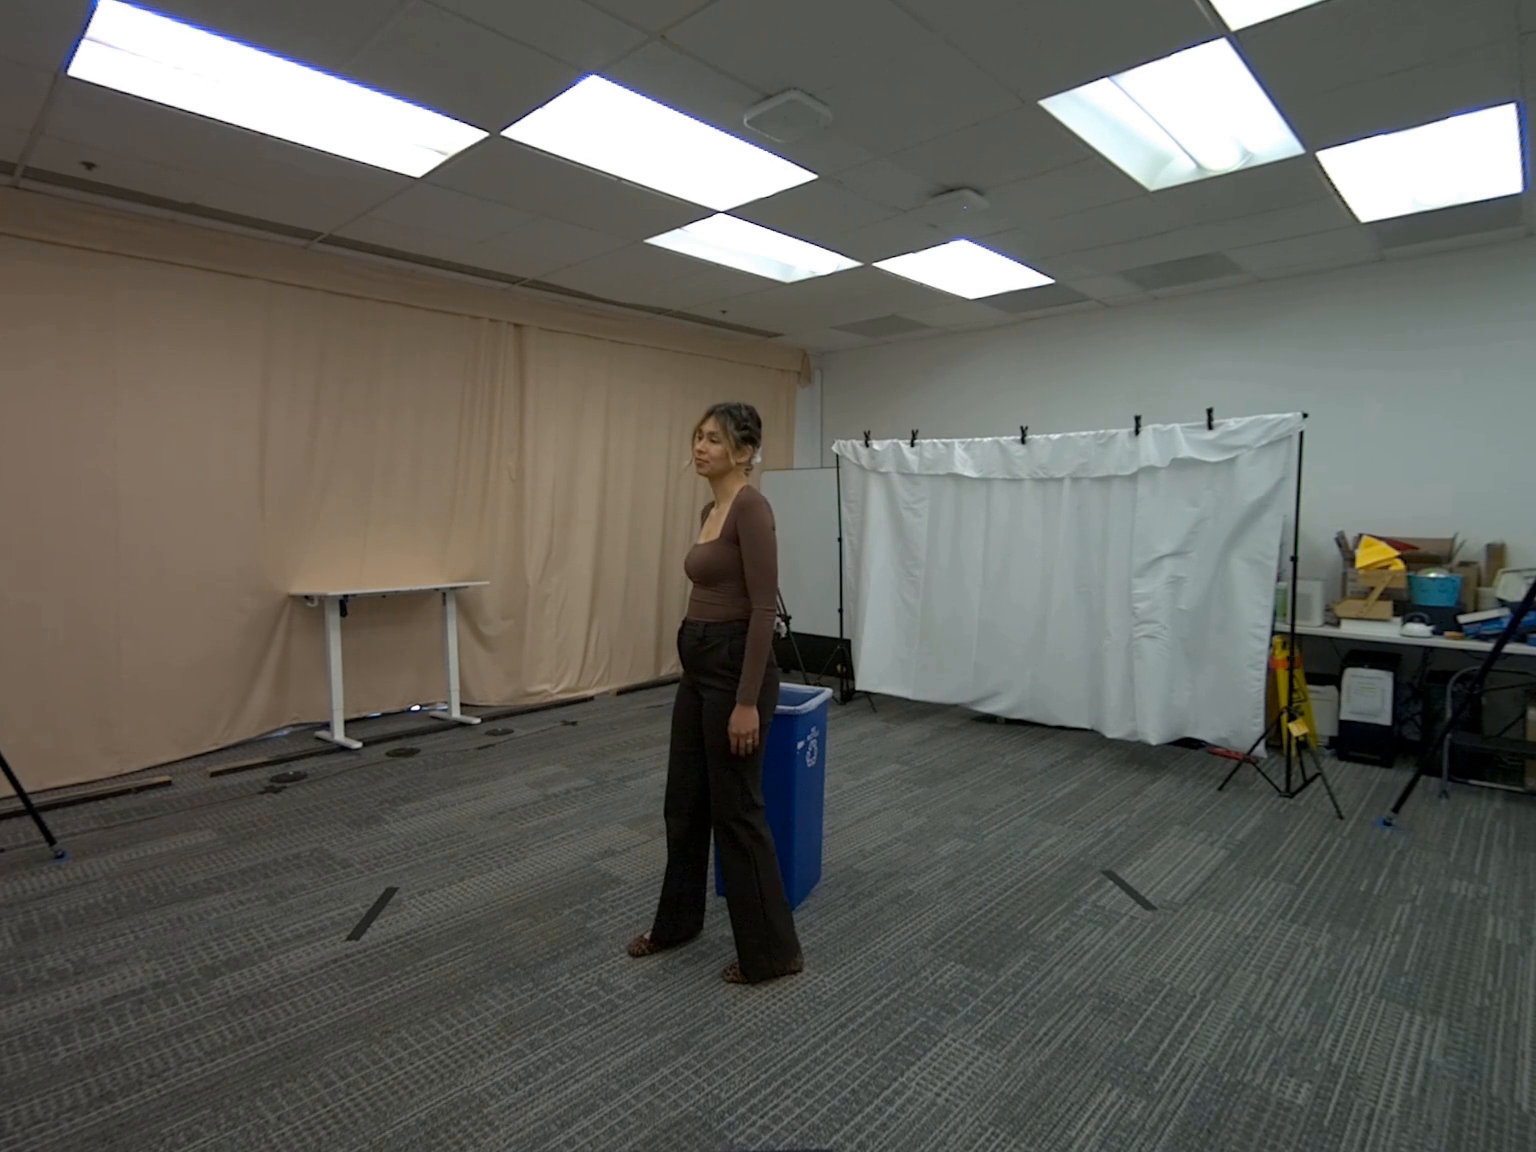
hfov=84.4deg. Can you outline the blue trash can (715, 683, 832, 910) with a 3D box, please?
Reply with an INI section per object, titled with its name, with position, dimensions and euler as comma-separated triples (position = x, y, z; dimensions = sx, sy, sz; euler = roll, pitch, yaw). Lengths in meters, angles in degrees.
[blue trash can]
position = 0.006, 0.778, 3.060
dimensions = 0.383, 0.712, 0.369
euler = 3, 4, 24
